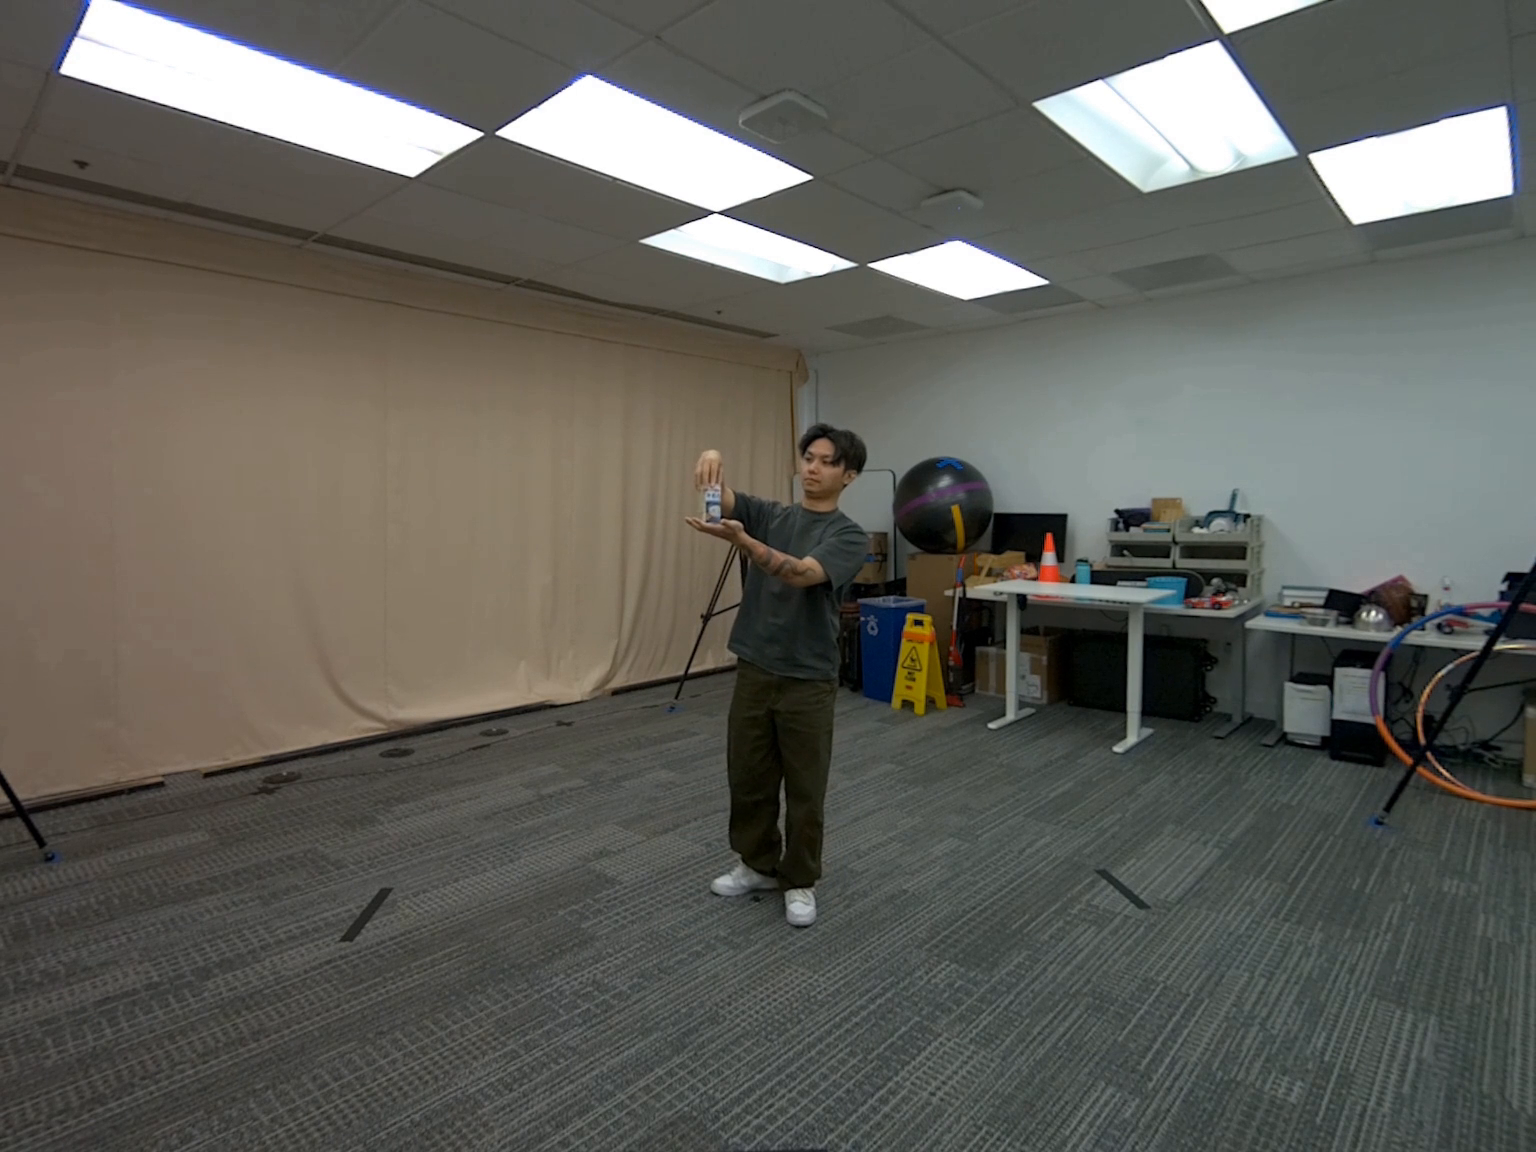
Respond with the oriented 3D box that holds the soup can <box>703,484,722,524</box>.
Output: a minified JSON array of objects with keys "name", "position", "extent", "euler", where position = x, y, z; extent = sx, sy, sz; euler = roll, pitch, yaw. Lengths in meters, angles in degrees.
[{"name":"soup can","position":[-0.166,-0.209,2.493],"extent":[0.067,0.121,0.067],"euler":[2,0,-2]}]
